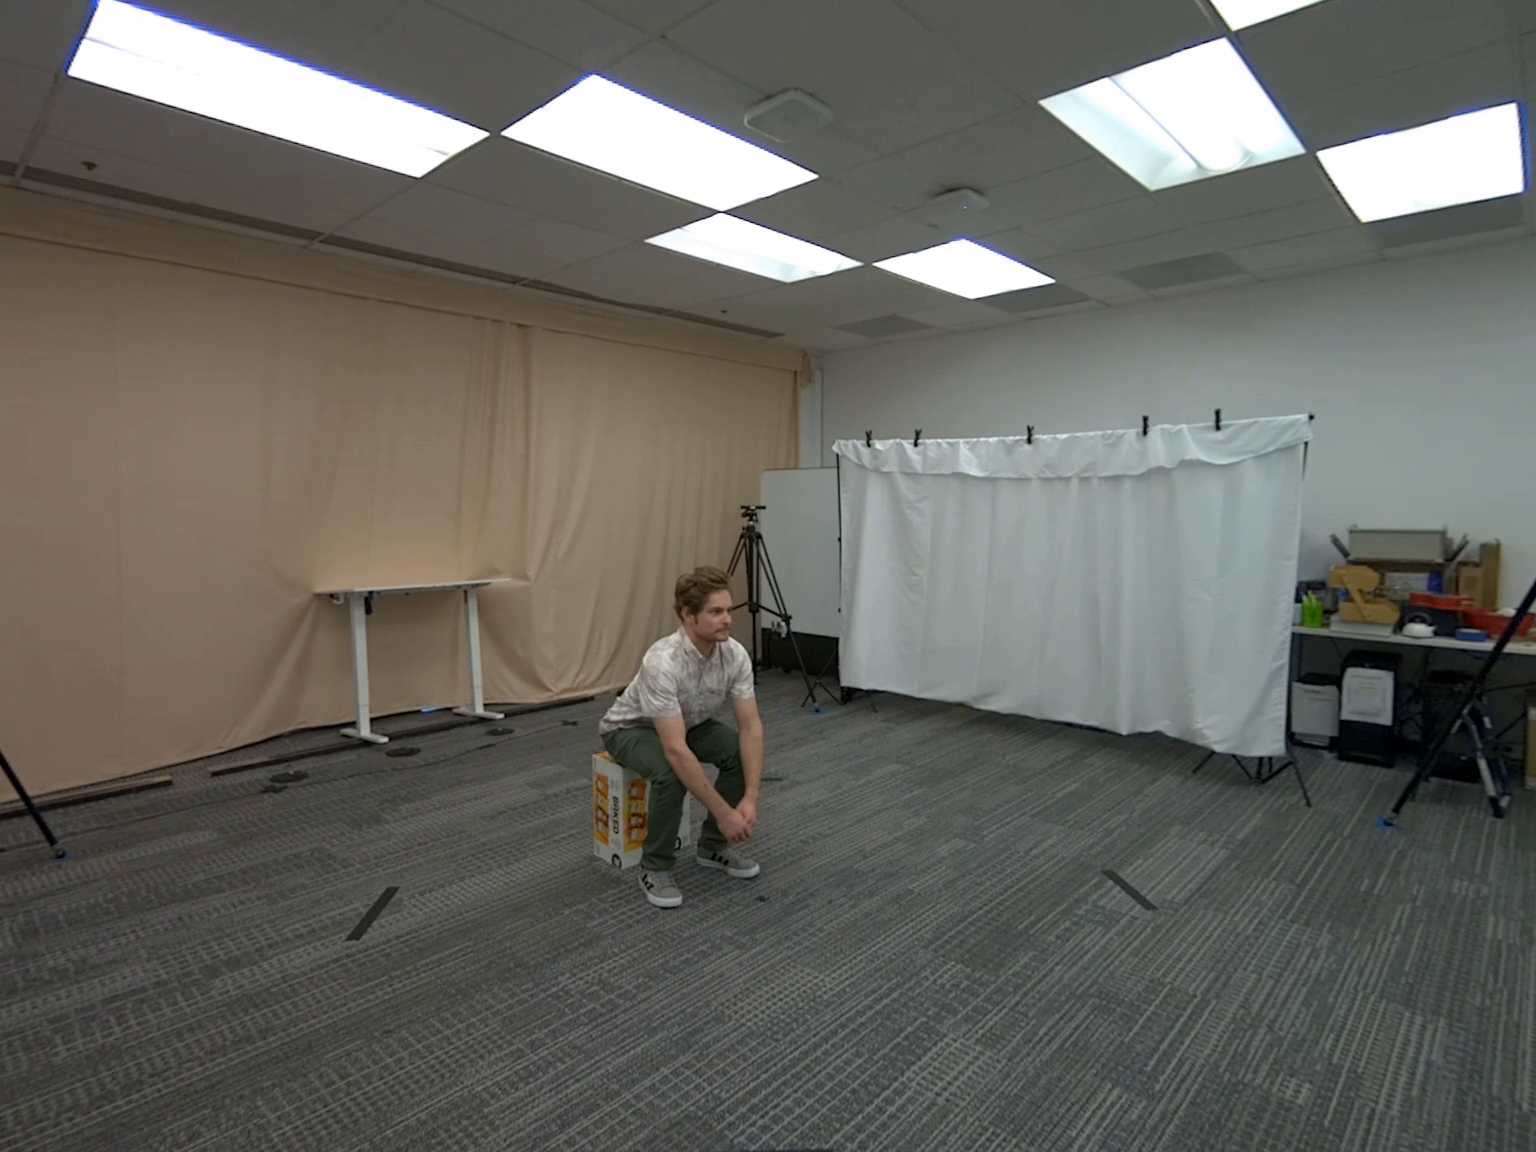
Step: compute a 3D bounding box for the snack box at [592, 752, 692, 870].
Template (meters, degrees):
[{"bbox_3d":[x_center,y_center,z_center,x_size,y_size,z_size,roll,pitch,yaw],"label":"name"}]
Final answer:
[{"bbox_3d":[-0.512,0.912,3.406,0.330,0.404,0.212,-5,7,-44],"label":"snack box"}]
